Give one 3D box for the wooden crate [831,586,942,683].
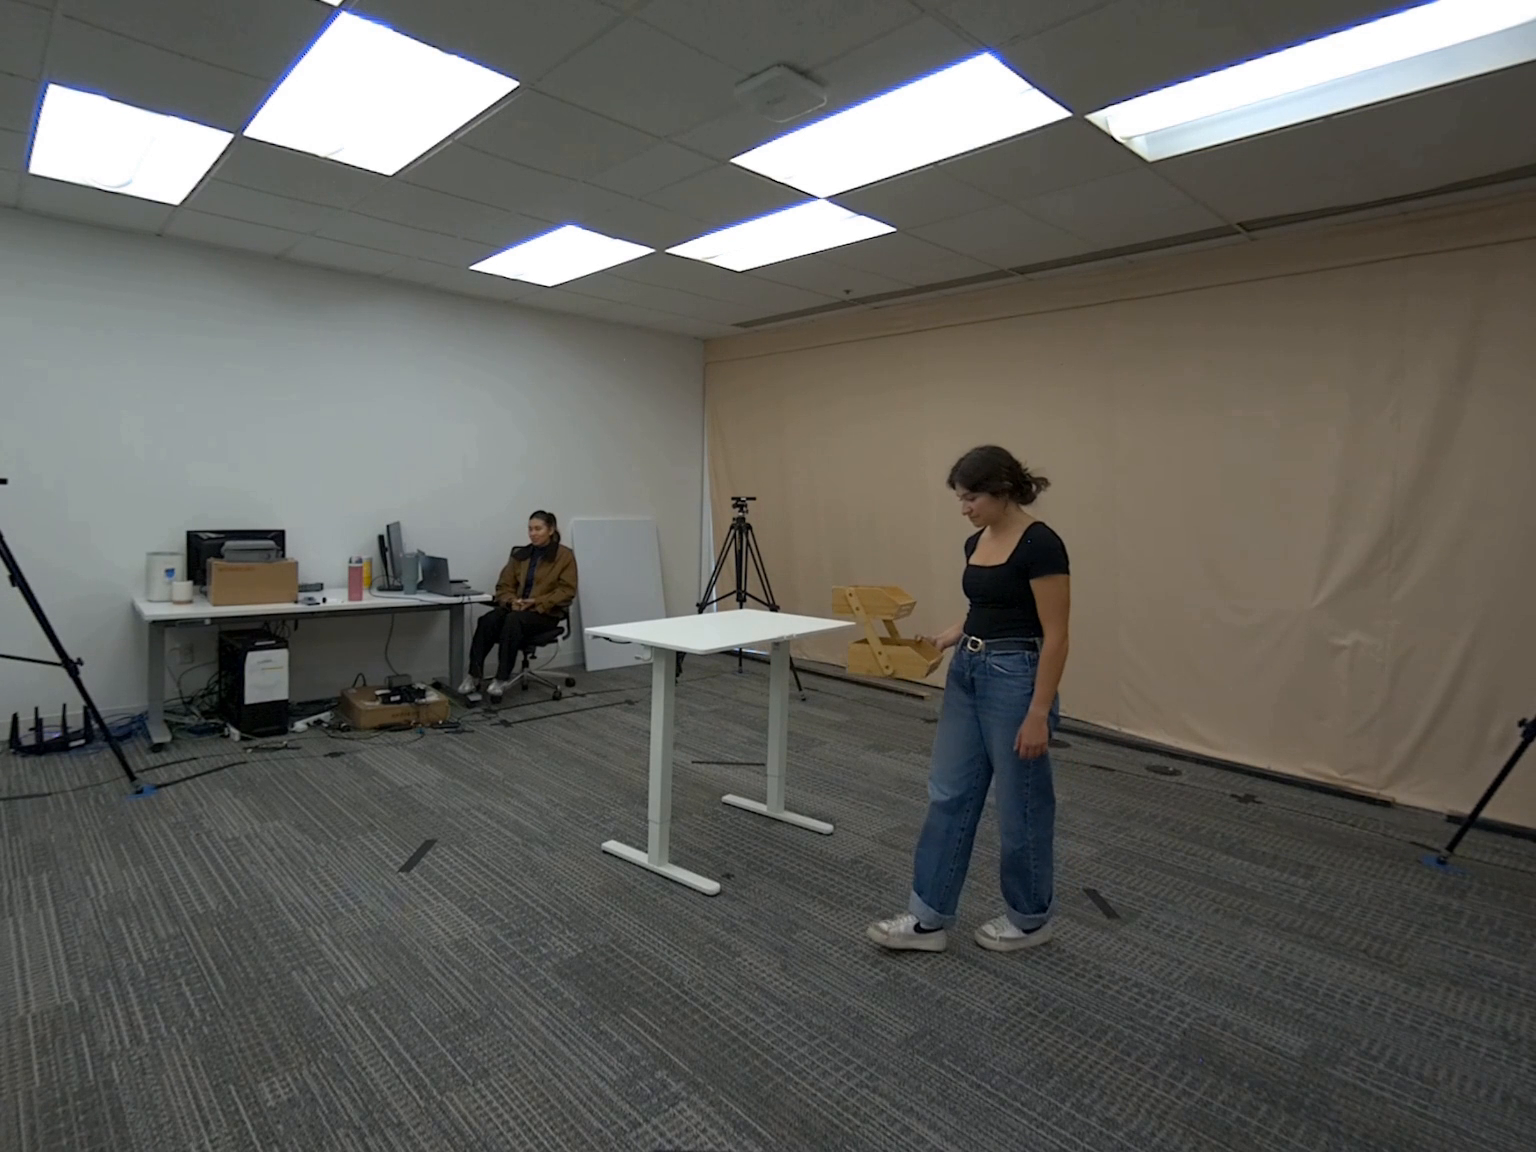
[{"bbox_3d":[0.386,0.167,2.633,0.306,0.273,0.319,2,0,18],"label":"wooden crate"}]
